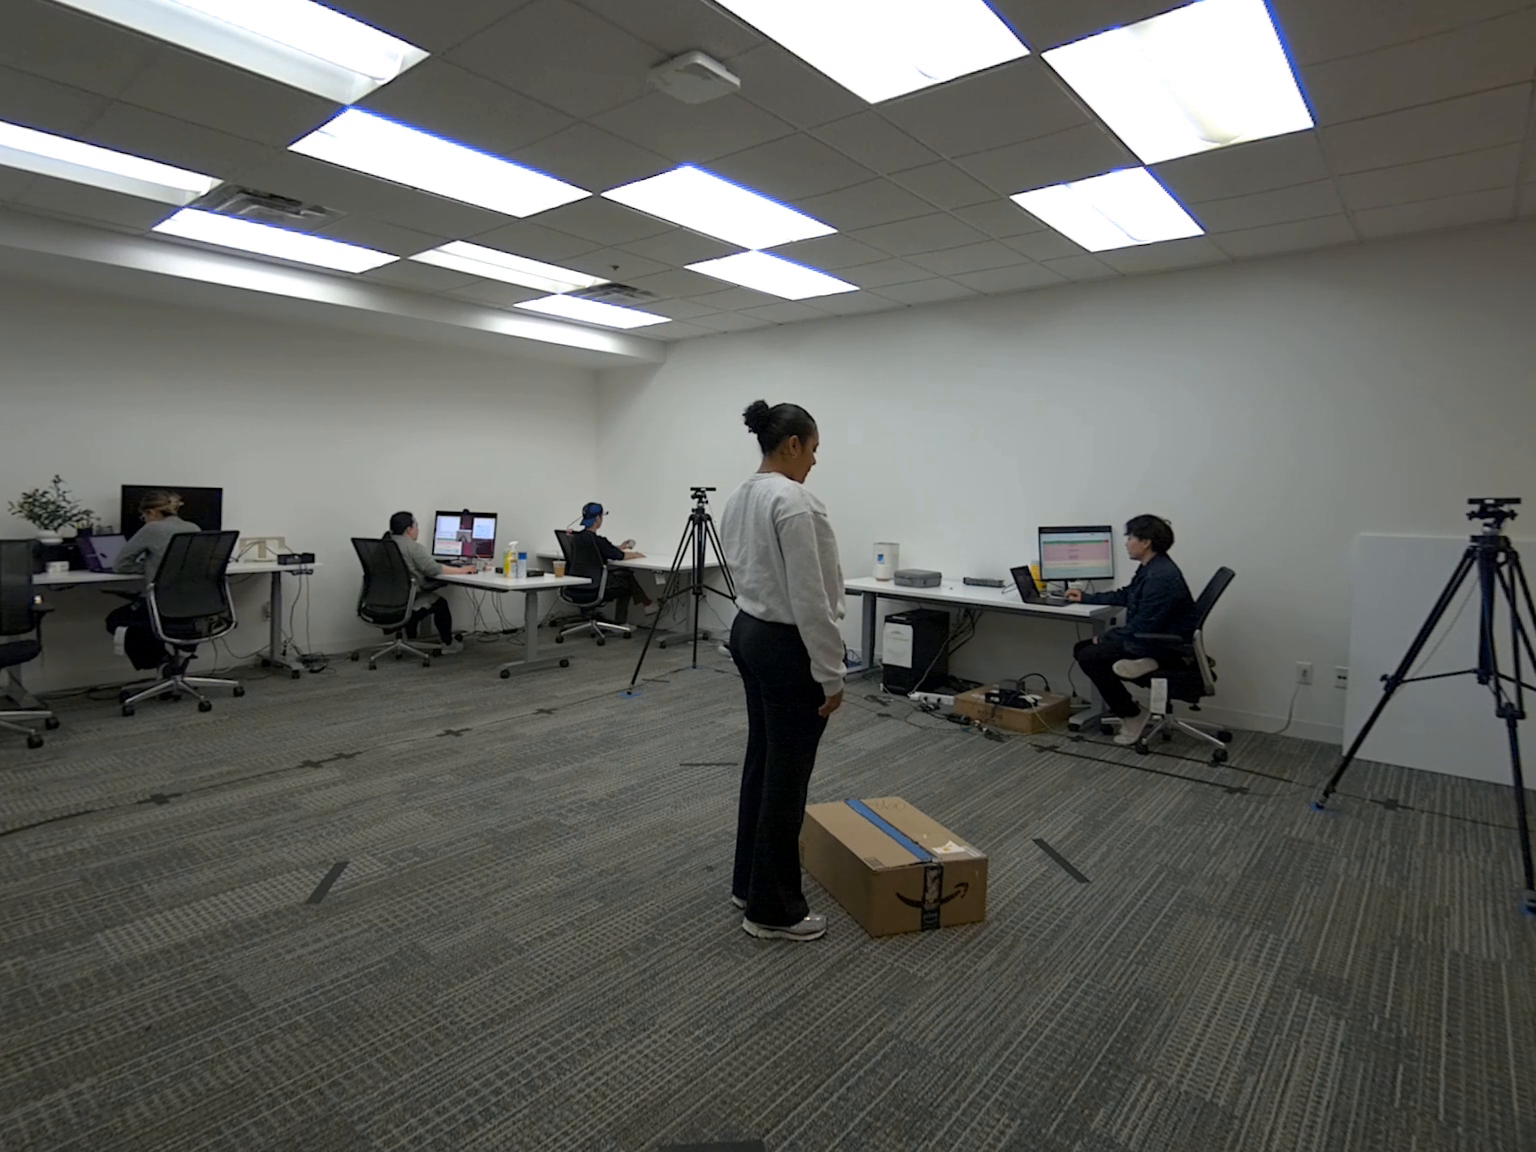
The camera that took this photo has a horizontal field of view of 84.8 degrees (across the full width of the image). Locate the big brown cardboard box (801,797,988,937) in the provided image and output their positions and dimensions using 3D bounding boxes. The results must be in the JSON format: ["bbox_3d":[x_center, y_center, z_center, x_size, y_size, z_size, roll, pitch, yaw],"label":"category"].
[{"bbox_3d":[0.409,0.981,2.963,0.409,0.232,0.603,0,5,-21],"label":"big brown cardboard box"}]
